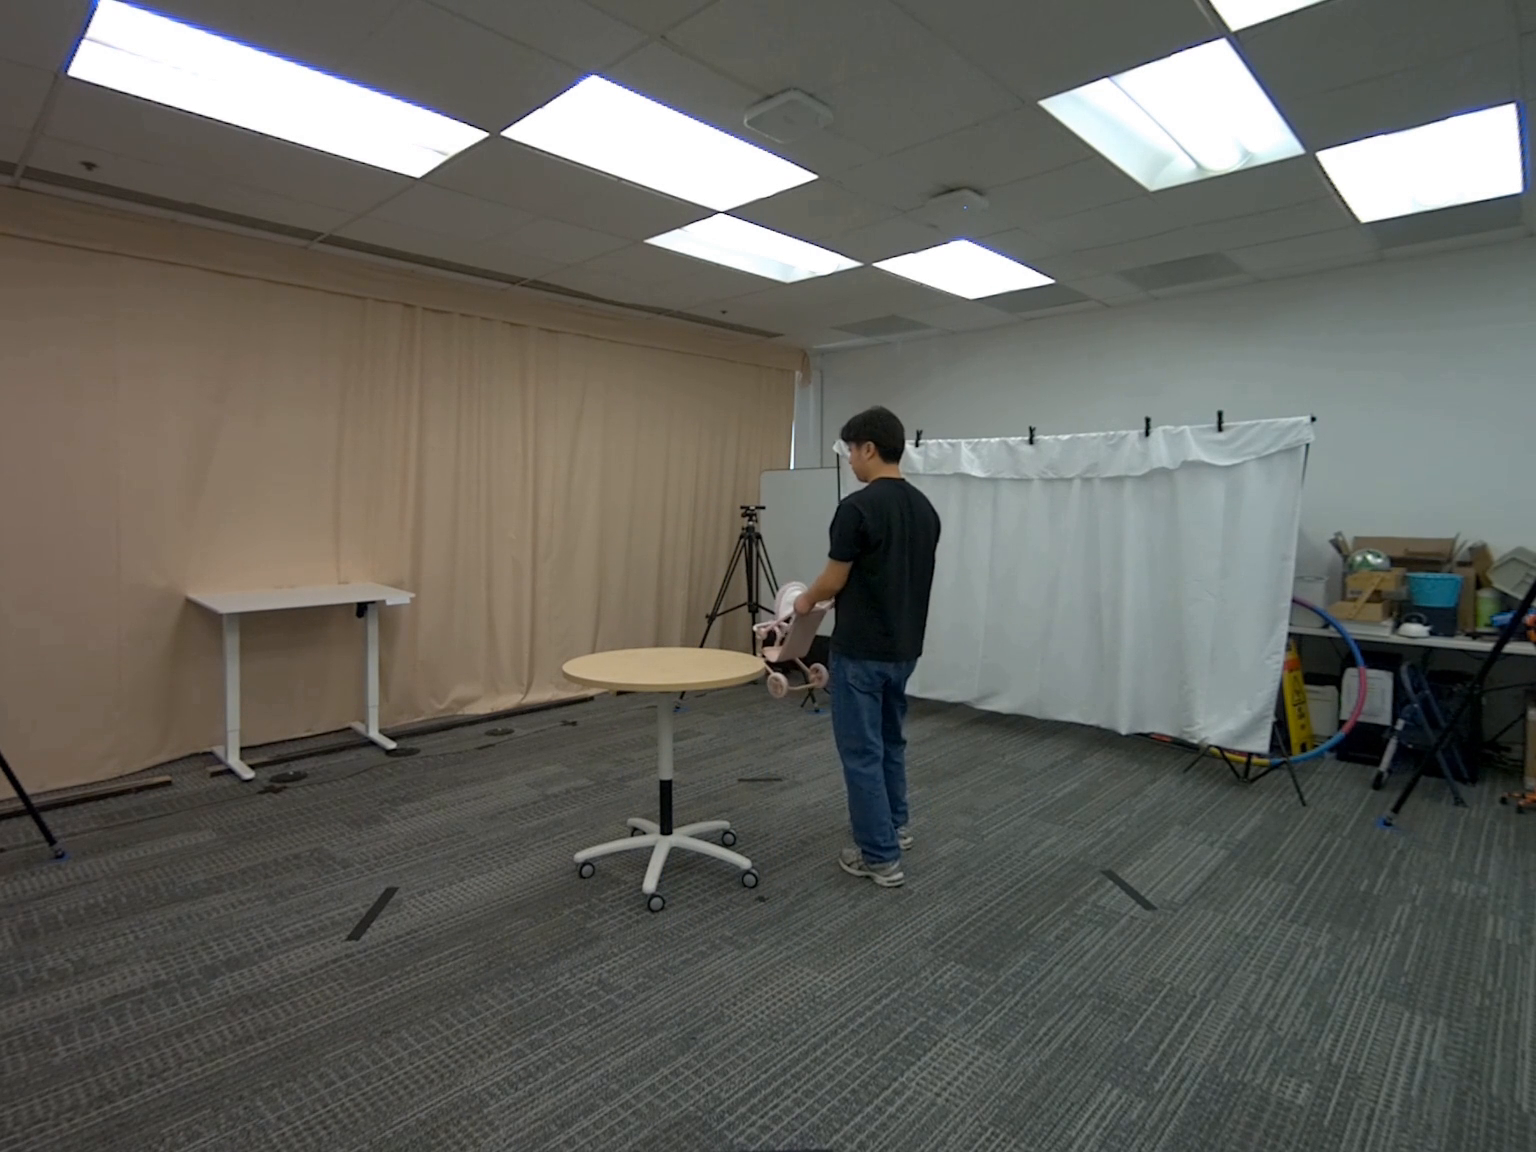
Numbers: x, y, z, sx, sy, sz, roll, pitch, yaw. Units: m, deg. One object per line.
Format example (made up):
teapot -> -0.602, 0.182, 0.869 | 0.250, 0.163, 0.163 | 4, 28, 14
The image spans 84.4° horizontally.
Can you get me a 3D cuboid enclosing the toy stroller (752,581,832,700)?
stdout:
toy stroller -> 0.097, 0.261, 3.605 | 0.273, 0.531, 0.354 | -3, 24, -37
